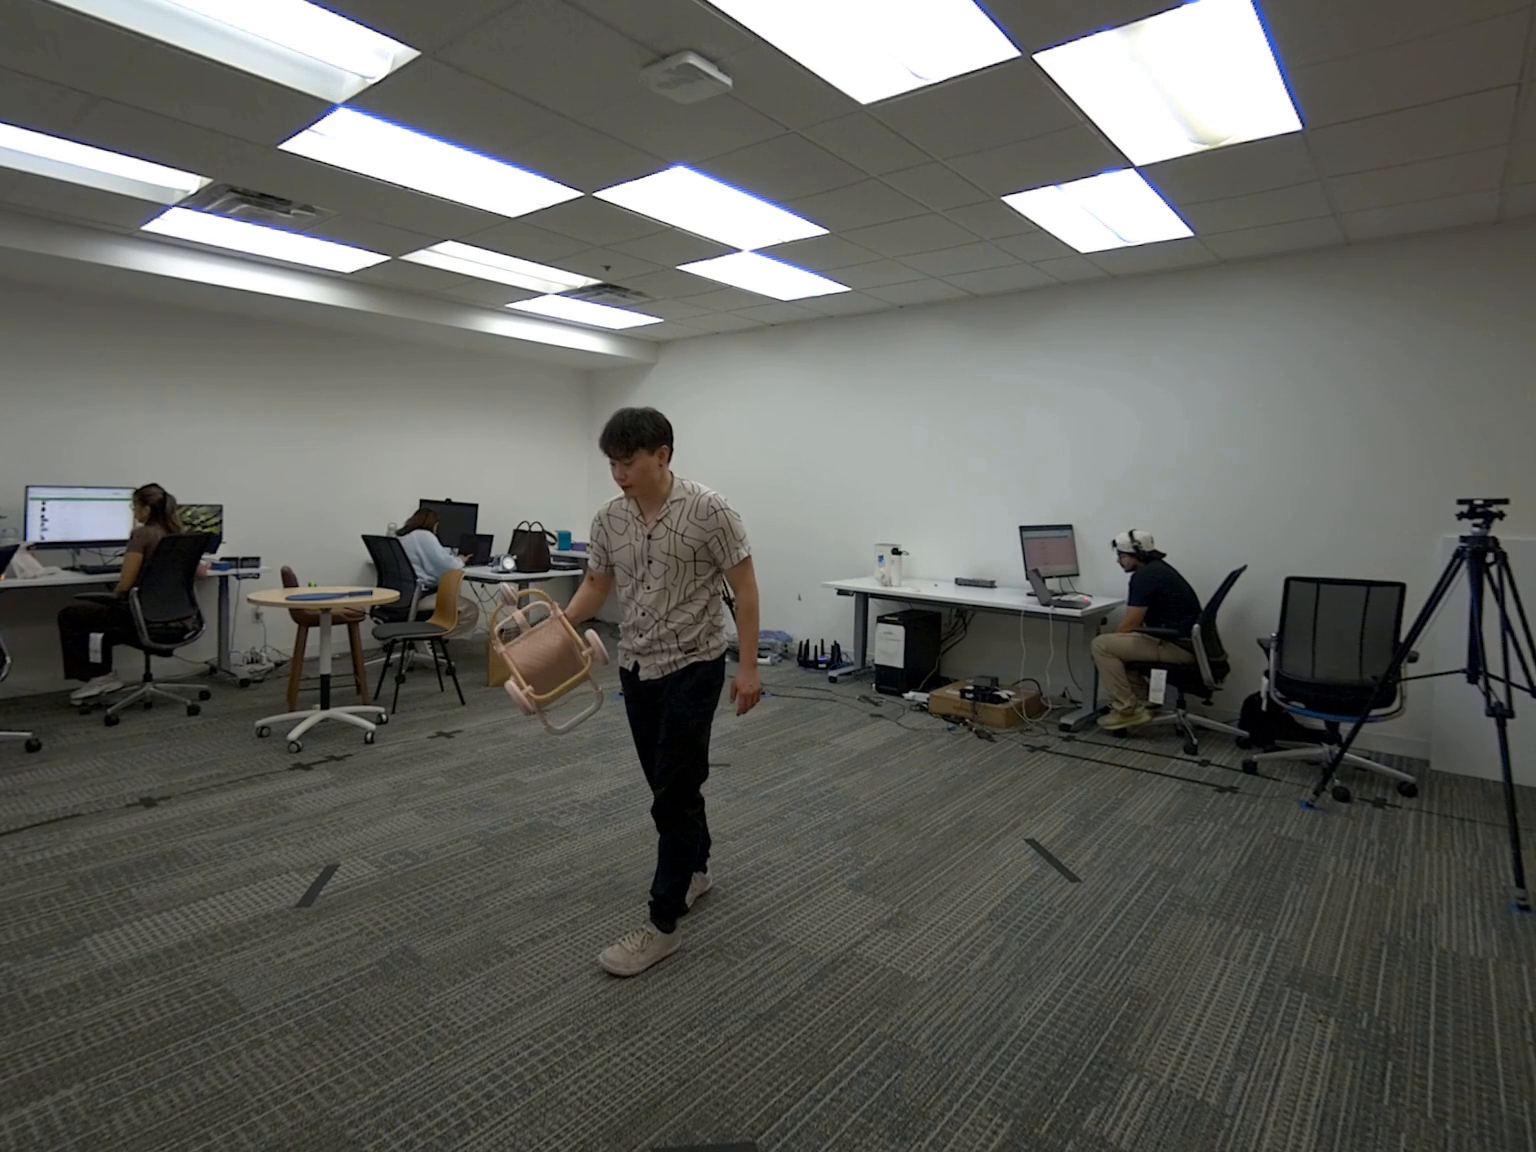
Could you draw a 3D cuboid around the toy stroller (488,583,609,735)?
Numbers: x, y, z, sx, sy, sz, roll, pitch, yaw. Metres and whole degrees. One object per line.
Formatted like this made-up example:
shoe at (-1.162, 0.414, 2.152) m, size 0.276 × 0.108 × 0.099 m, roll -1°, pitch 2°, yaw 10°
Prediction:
toy stroller at (-0.673, 0.237, 2.484) m, size 0.280 × 0.349 × 0.526 m, roll -37°, pitch -14°, yaw -18°
